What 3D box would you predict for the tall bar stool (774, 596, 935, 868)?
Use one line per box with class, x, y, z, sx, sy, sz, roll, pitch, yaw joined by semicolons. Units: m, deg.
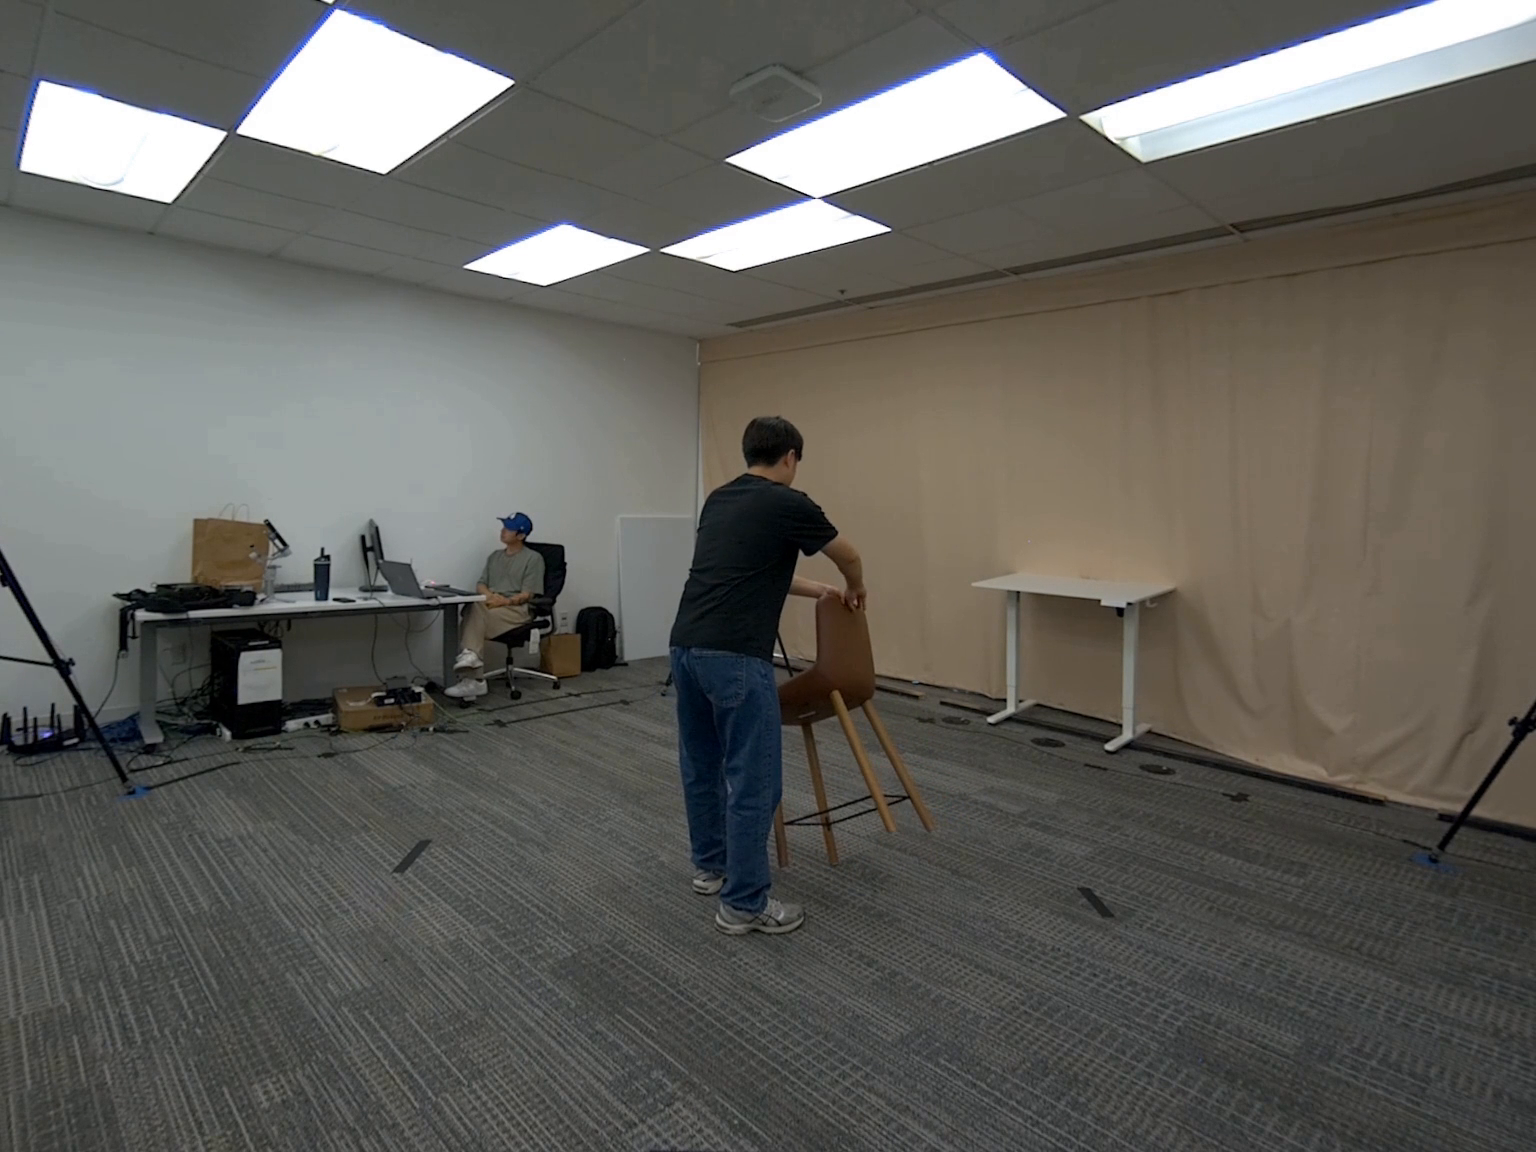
tall bar stool;0.224;0.585;3.169;0.472;0.908;0.443;-25;-26;26
